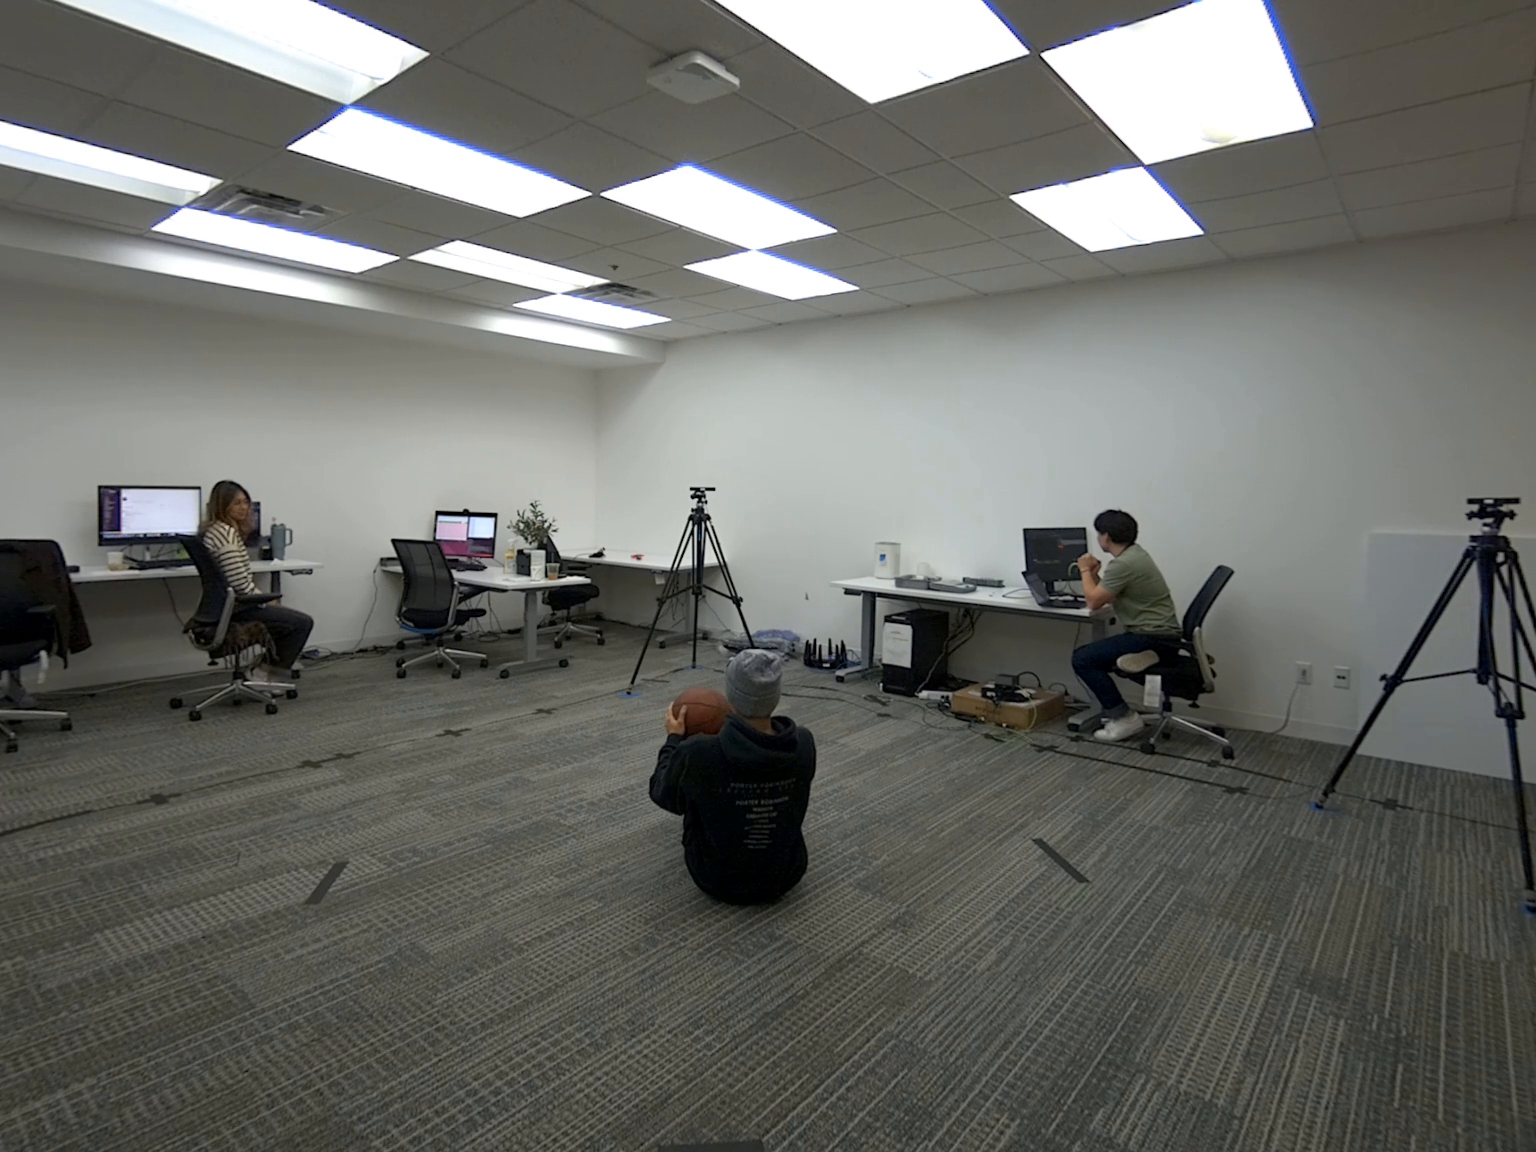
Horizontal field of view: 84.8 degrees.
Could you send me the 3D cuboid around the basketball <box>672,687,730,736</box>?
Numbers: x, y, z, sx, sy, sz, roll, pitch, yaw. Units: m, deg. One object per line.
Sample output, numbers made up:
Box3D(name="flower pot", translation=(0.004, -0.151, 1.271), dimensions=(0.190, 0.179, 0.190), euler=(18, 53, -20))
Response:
Box3D(name="basketball", translation=(-0.258, 0.537, 3.223), dimensions=(0.235, 0.235, 0.237), euler=(1, 4, -2))
